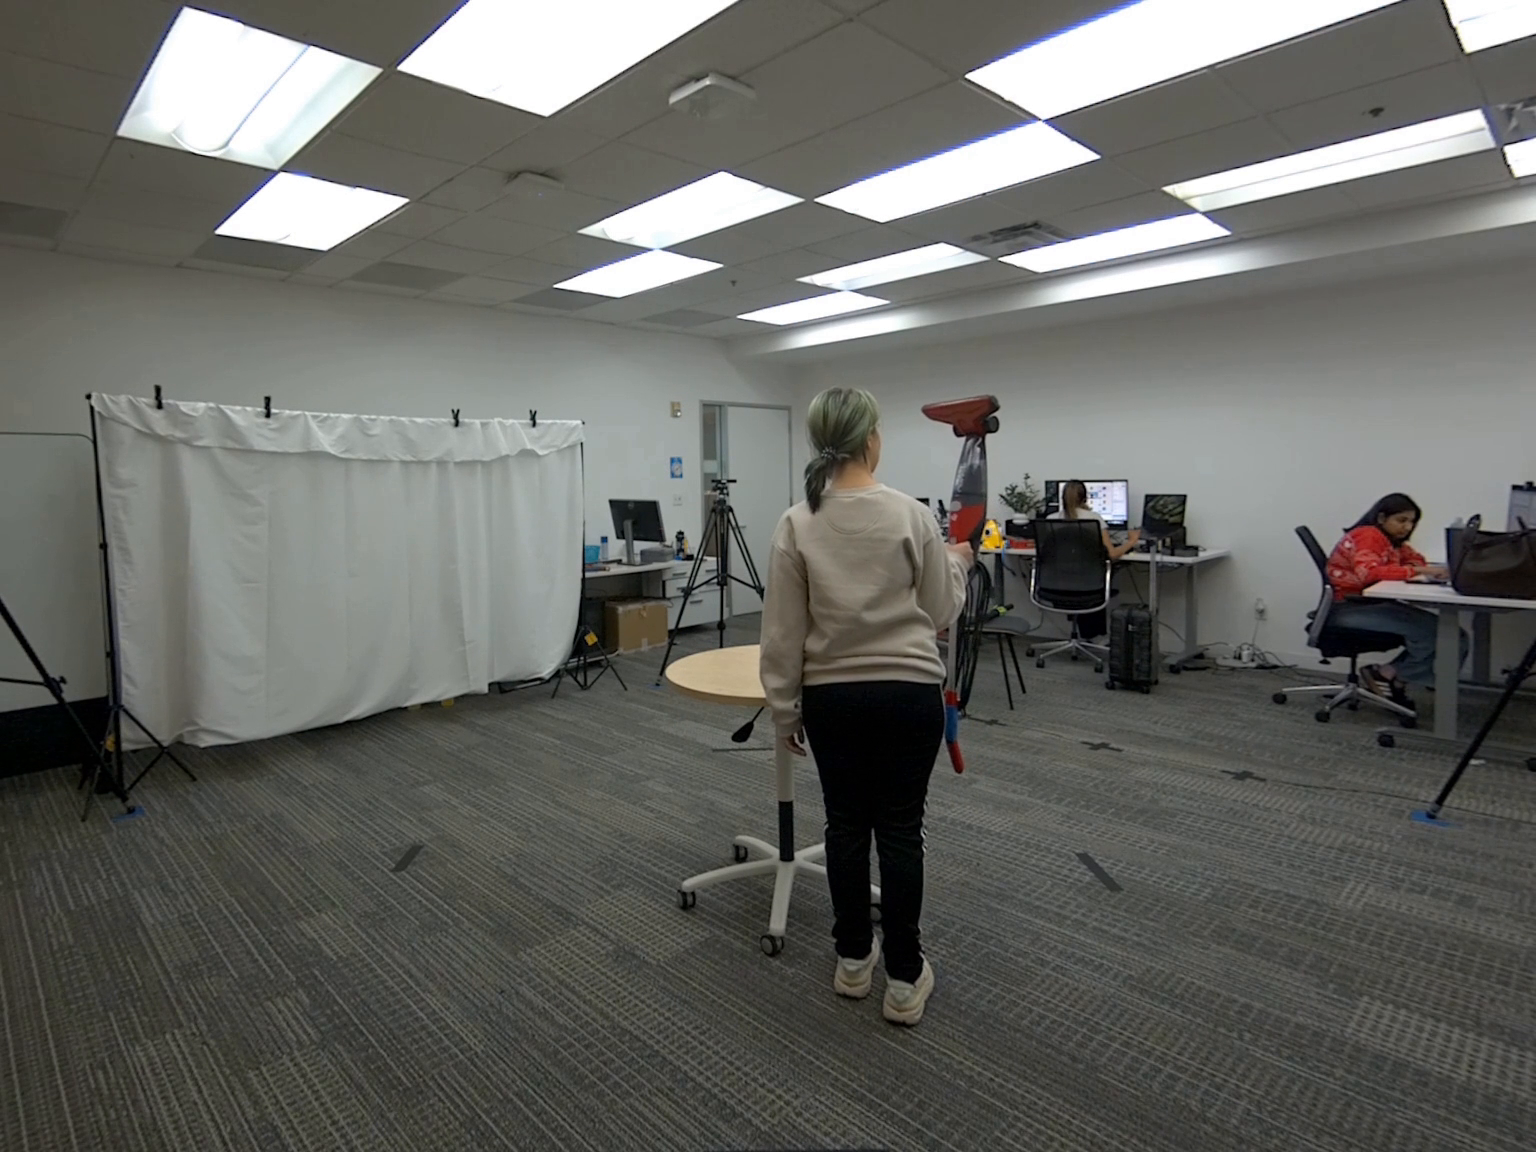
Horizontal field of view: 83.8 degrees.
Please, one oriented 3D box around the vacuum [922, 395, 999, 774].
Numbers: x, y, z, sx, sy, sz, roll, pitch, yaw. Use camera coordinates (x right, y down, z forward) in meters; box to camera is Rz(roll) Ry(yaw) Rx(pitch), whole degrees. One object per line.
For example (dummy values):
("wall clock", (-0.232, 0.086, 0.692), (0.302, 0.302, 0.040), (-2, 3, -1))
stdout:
("vacuum", (0.590, 0.037, 2.515), (0.140, 1.050, 0.260), (2, -1, -38))
